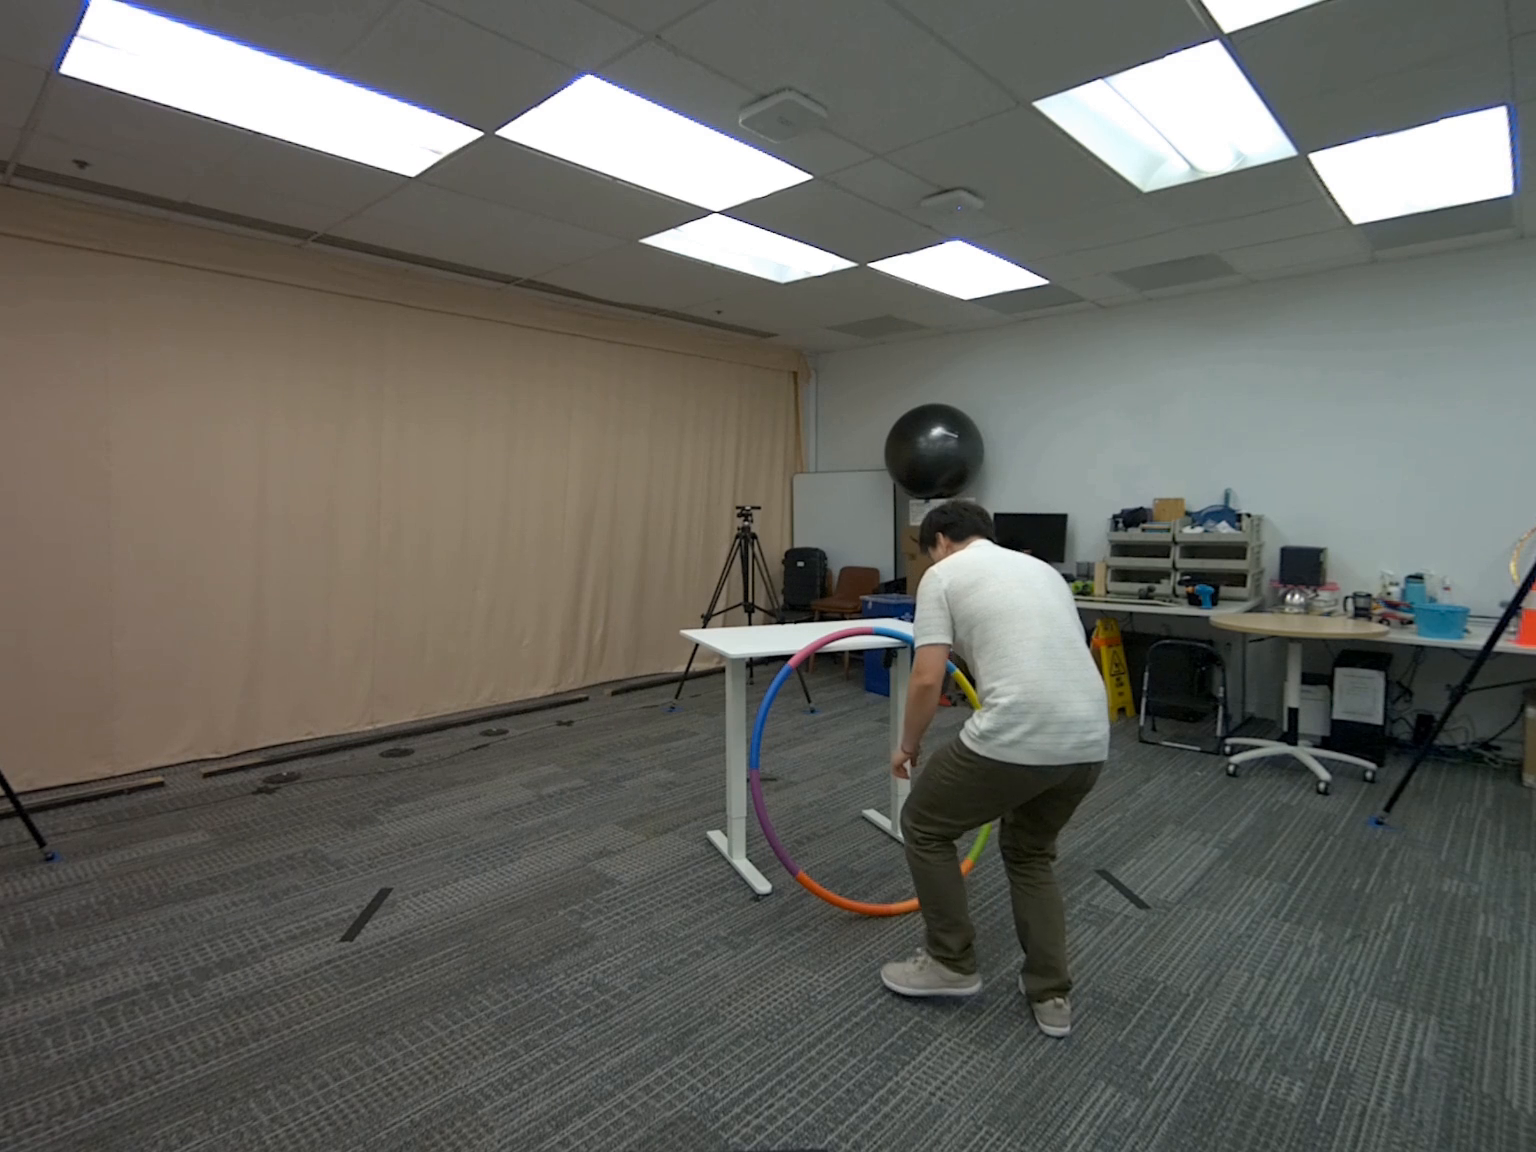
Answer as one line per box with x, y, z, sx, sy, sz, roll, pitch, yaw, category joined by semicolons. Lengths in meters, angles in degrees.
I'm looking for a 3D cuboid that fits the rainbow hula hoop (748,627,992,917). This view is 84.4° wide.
0.405;0.668;2.966;0.959;0.987;0.036;-2;-12;-20;rainbow hula hoop
